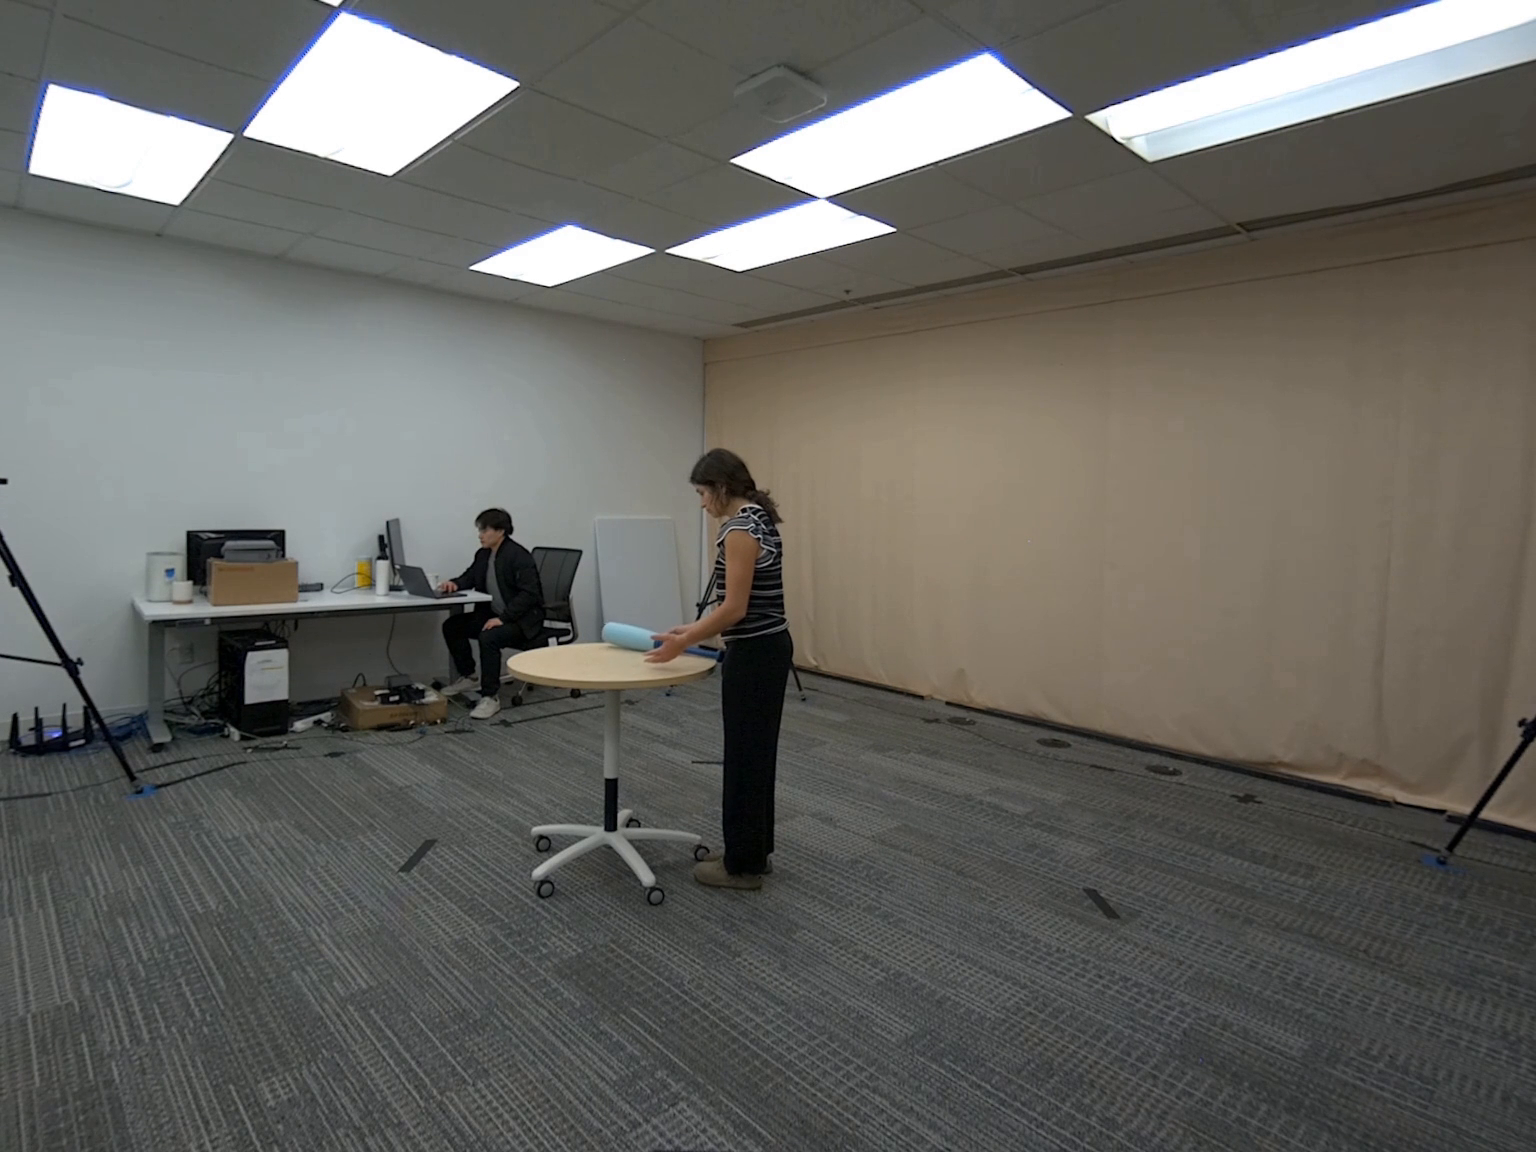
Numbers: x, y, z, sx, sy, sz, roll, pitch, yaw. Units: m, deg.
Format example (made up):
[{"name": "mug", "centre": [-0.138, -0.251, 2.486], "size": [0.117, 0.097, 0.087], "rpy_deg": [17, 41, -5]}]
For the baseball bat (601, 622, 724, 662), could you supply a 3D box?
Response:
[{"name": "baseball bat", "centre": [-0.409, 0.260, 3.255], "size": [0.554, 0.089, 0.087], "rpy_deg": [8, 6, 24]}]
